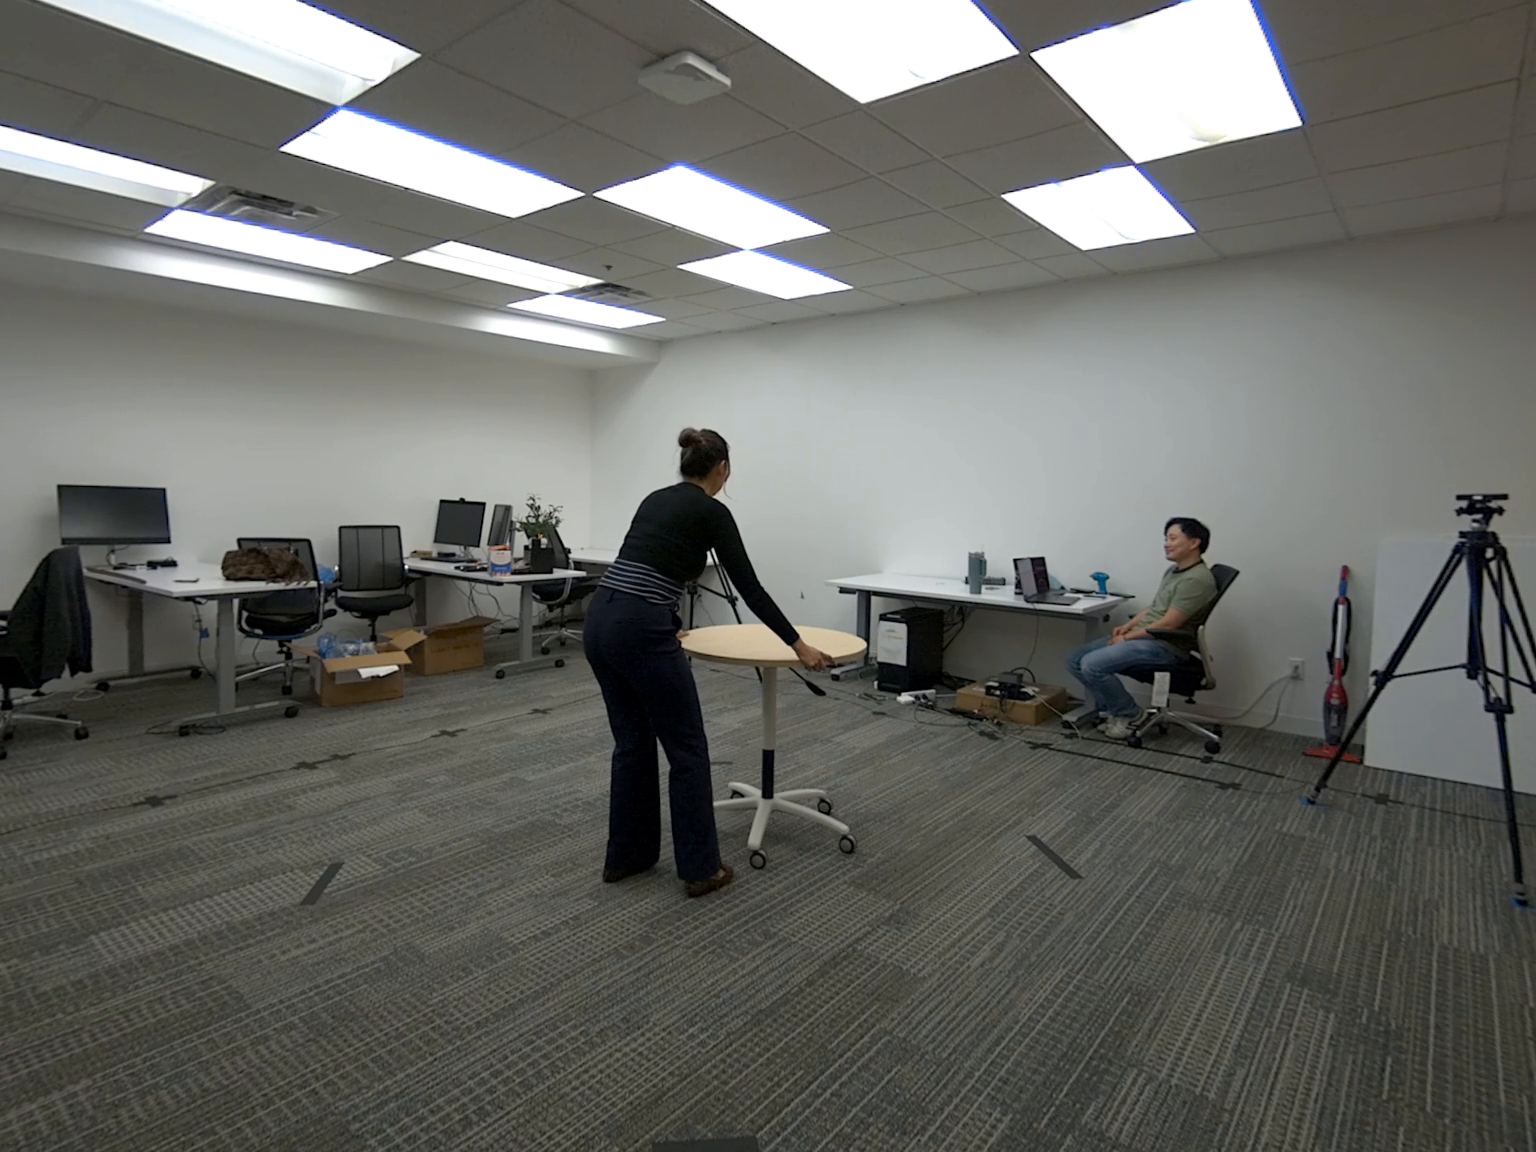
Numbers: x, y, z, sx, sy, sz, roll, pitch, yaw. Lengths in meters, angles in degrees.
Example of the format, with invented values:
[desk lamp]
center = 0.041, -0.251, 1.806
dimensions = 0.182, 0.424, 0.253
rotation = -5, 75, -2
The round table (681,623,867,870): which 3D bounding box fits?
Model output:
[round table]
center = -0.004, 0.646, 3.434
dimensions = 0.763, 0.791, 0.768
rotation = 1, 4, -2
